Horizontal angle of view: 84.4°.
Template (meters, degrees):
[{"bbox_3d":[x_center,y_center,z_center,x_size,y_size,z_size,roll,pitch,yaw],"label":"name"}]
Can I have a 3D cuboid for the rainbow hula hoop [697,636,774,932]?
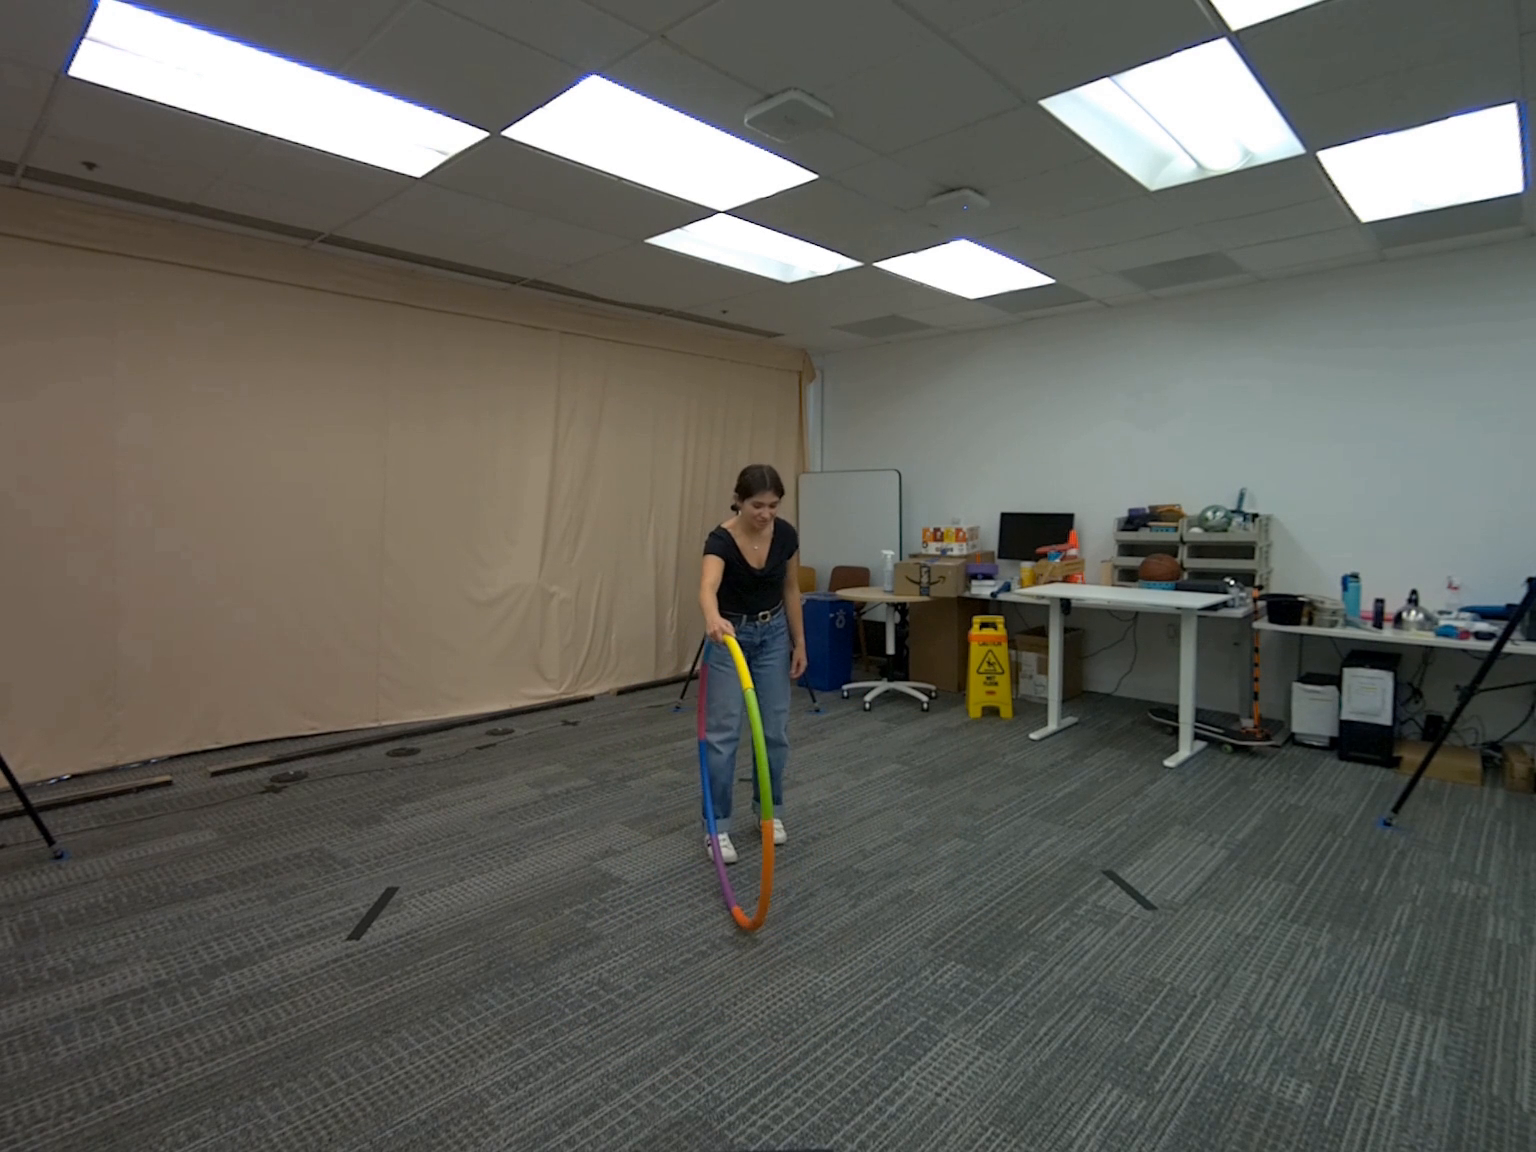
[{"bbox_3d":[-0.120,0.663,2.848,0.035,0.976,0.994,-2,4,-14],"label":"rainbow hula hoop"}]
